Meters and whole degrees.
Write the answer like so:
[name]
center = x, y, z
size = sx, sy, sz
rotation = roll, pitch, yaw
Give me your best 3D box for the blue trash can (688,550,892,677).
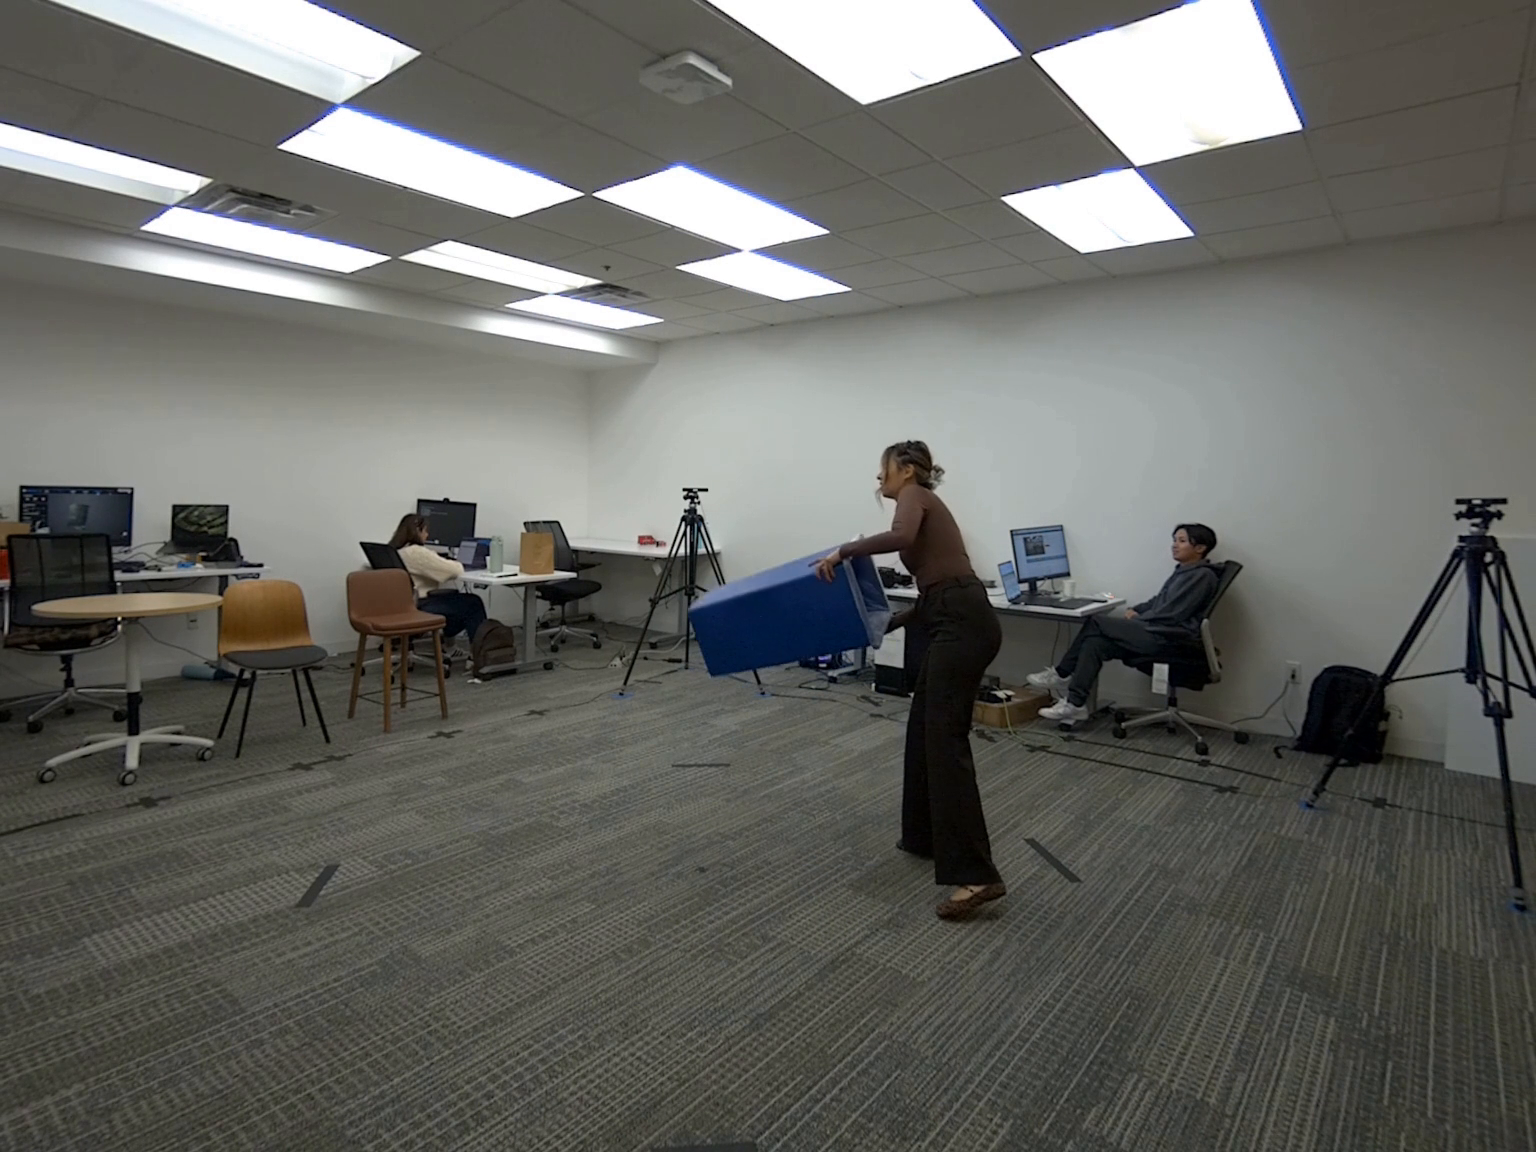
[blue trash can]
center = 0.075, 0.134, 3.431
size = 0.725, 0.371, 0.375
rotation = -17, 8, 23
